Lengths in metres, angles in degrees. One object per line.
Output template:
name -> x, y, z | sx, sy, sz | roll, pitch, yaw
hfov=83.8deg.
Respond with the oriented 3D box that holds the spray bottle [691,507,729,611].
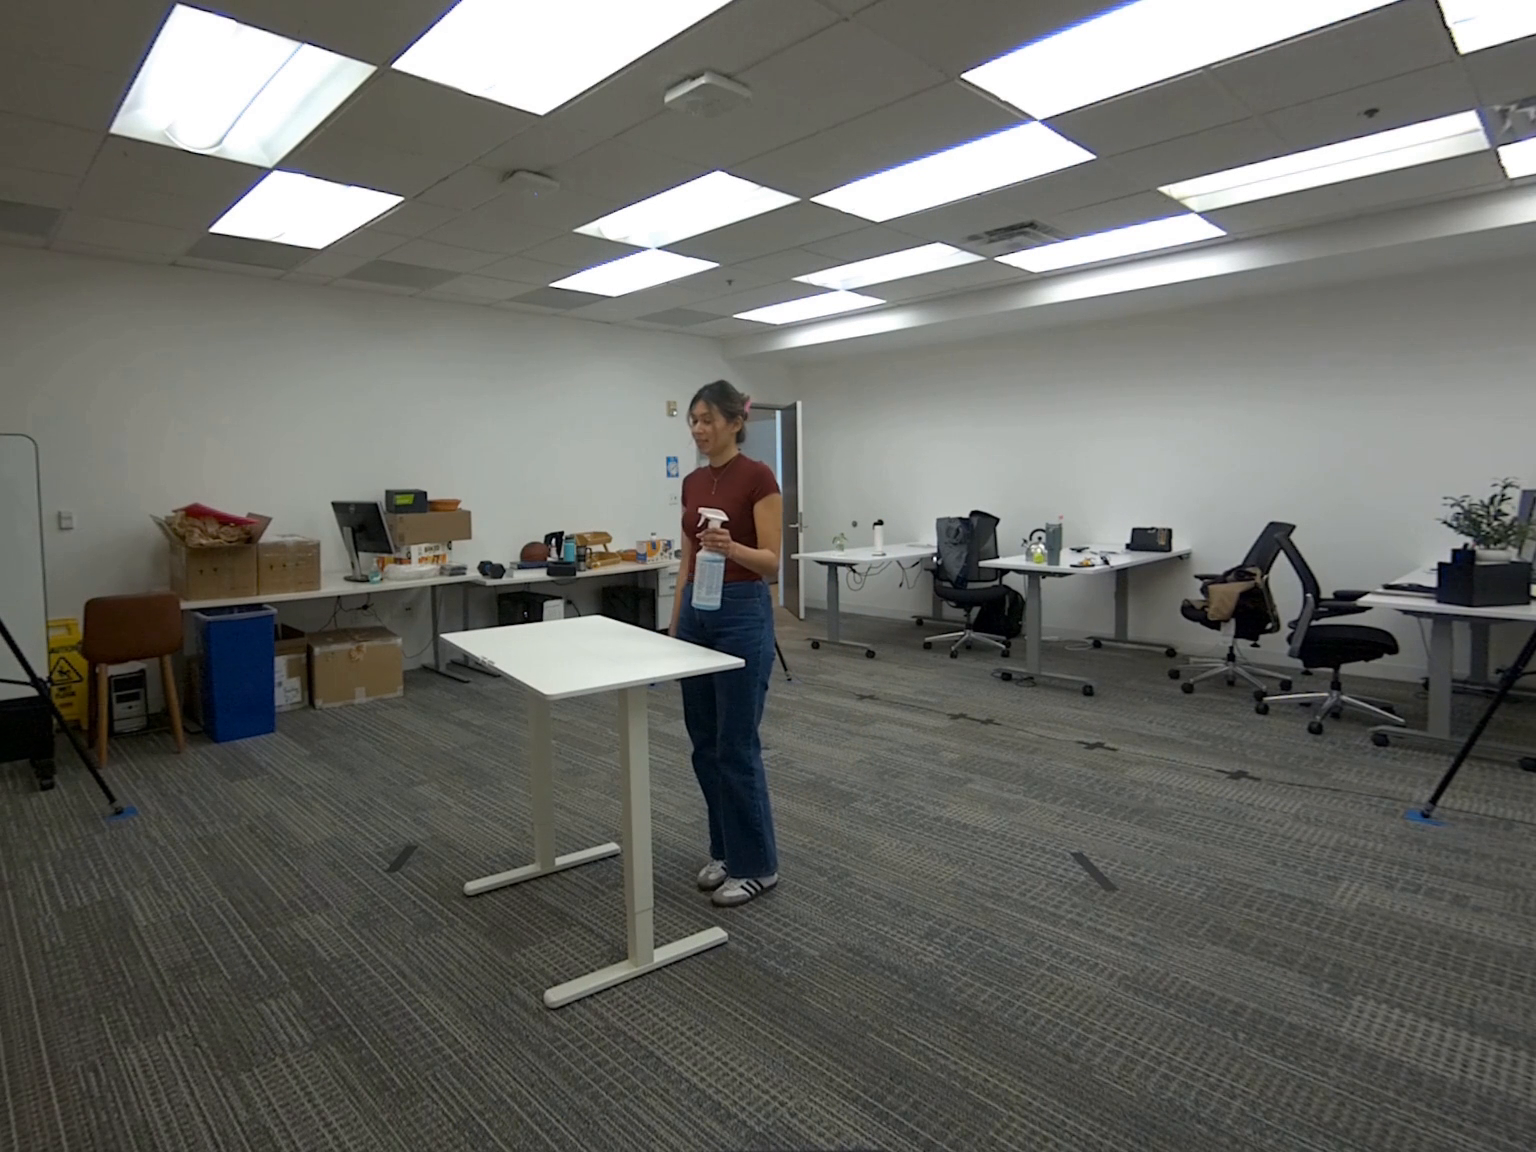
spray bottle -> -0.174, -0.047, 2.542 | 0.091, 0.296, 0.086 | 7, 6, 9
